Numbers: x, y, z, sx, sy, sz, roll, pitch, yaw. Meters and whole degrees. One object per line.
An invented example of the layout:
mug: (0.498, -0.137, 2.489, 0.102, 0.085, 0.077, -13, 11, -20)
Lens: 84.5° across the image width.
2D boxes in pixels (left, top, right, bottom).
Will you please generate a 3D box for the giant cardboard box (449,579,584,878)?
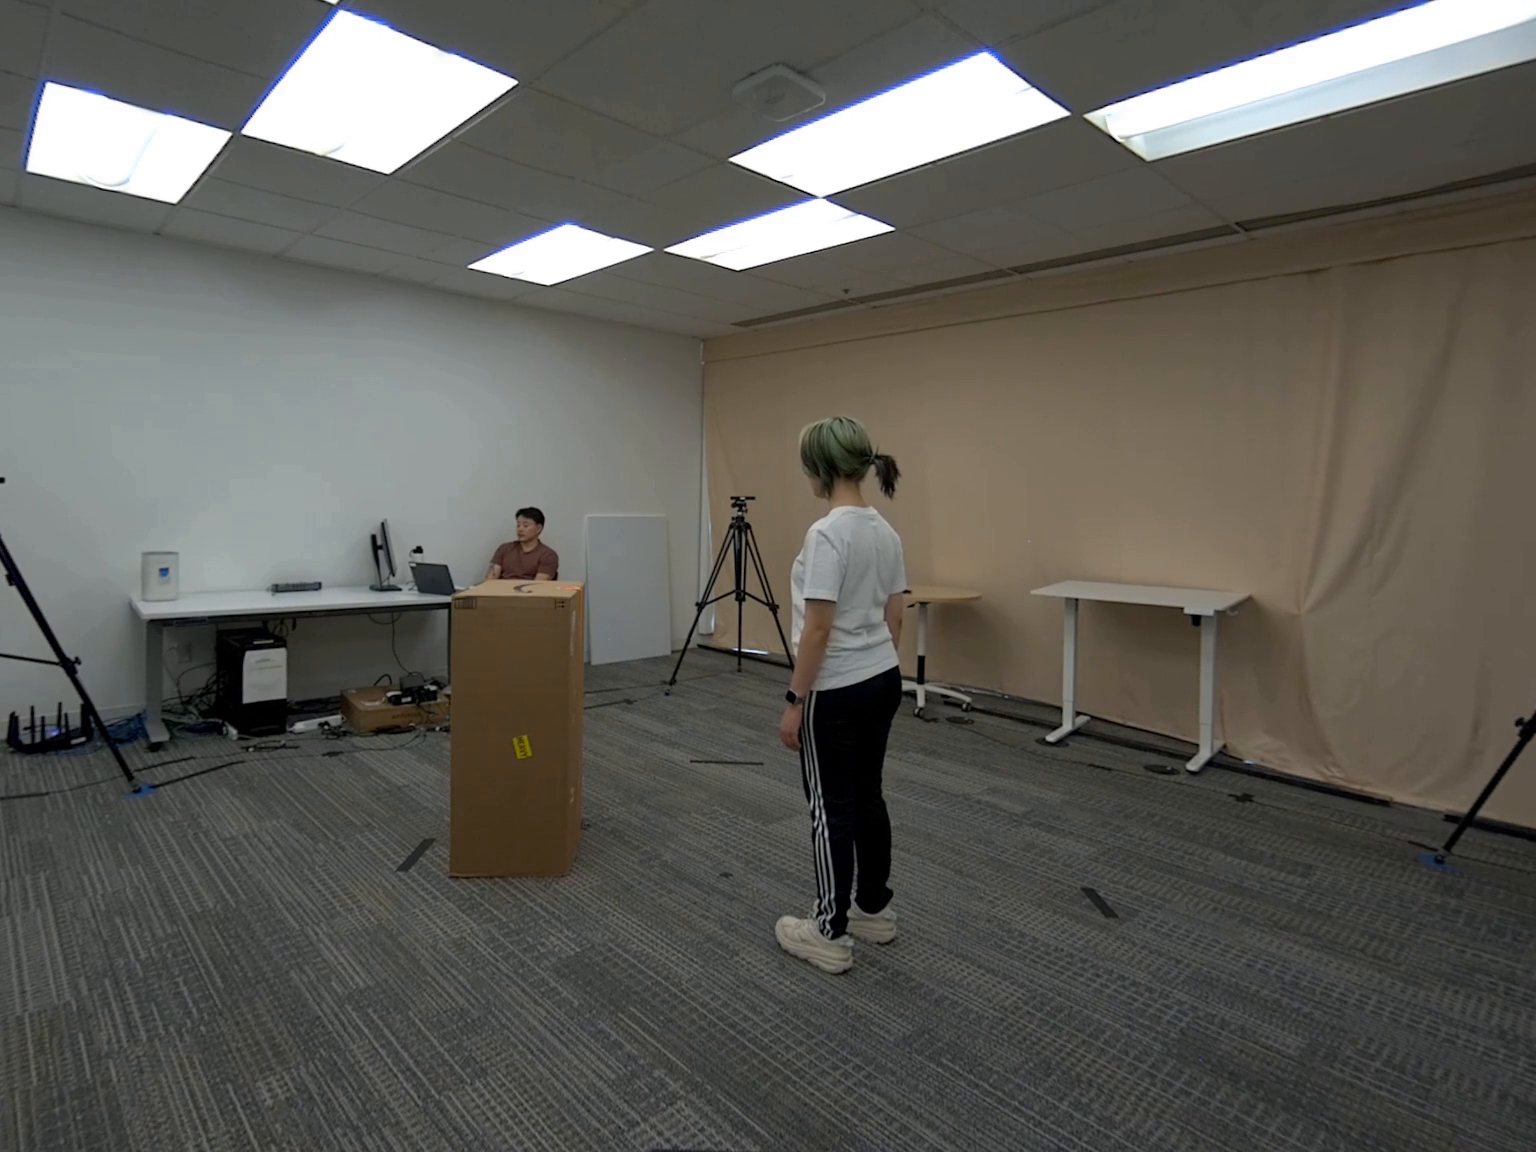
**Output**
giant cardboard box: (-0.968, 0.560, 3.306, 0.444, 1.025, 0.588, 0, 3, -7)
